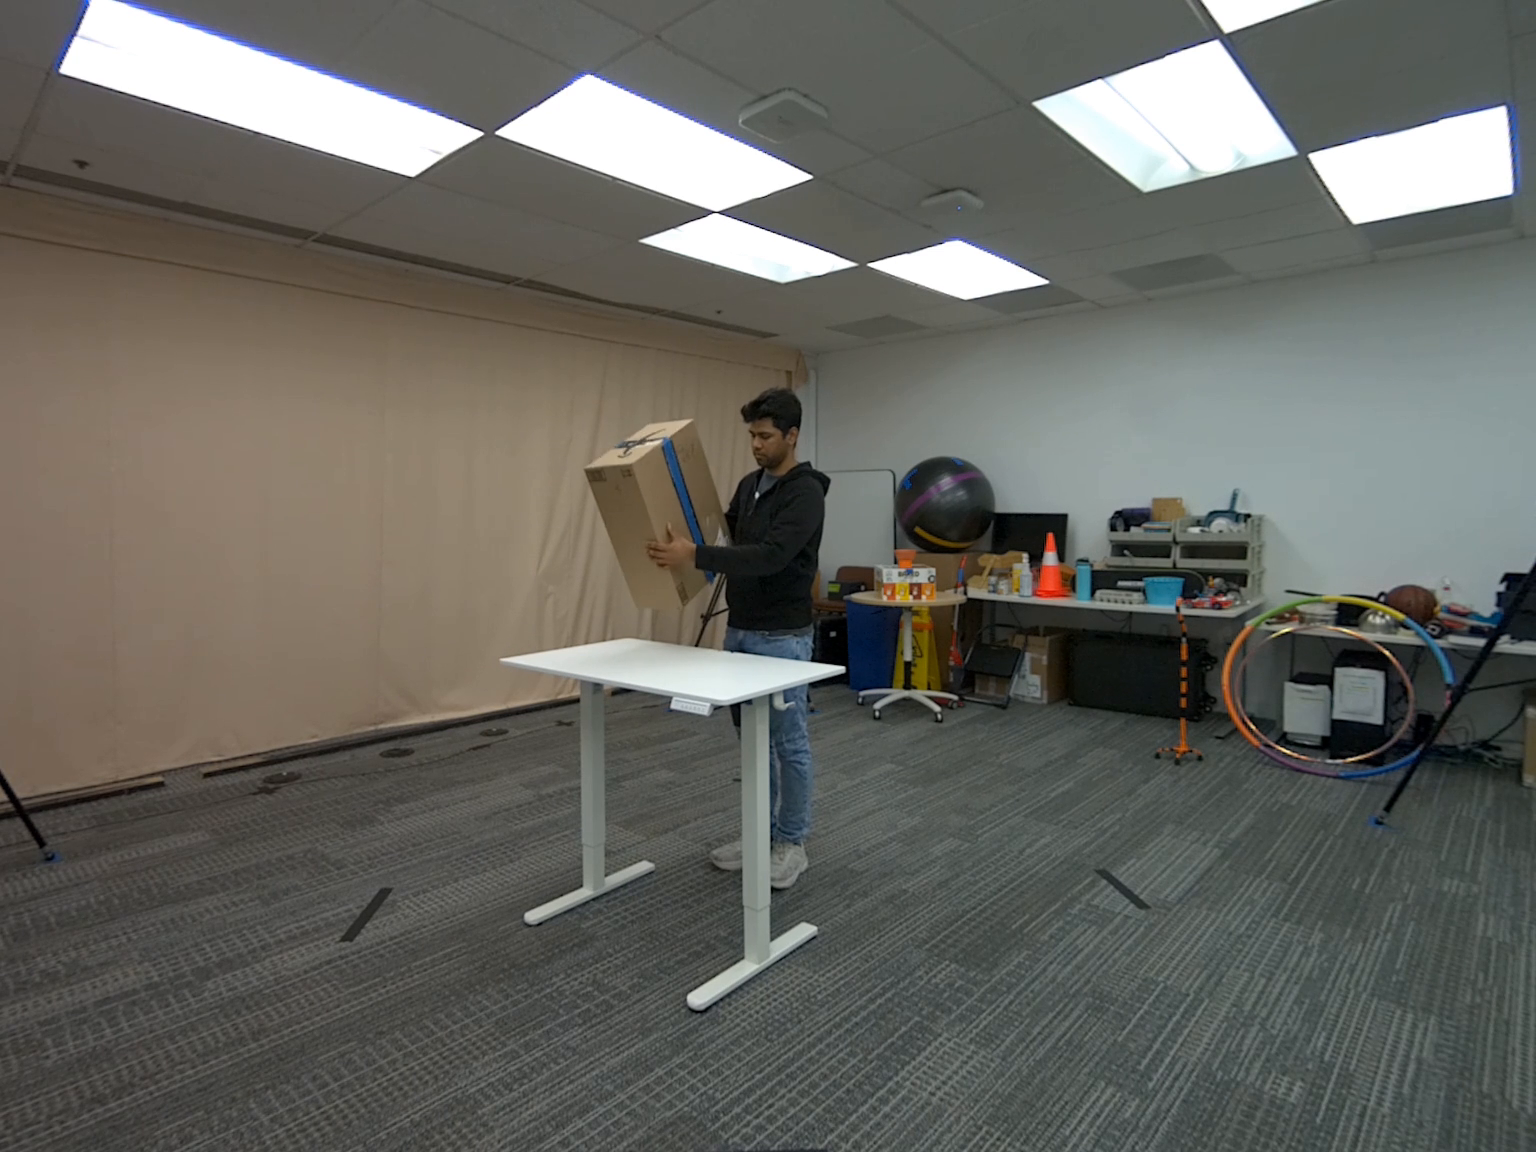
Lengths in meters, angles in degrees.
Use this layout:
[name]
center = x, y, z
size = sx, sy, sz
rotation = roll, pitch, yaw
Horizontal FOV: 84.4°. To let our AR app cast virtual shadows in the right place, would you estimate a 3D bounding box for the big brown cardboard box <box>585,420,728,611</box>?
[big brown cardboard box]
center = -0.370, -0.213, 3.077
size = 0.240, 0.577, 0.414
rotation = -3, 28, 33
